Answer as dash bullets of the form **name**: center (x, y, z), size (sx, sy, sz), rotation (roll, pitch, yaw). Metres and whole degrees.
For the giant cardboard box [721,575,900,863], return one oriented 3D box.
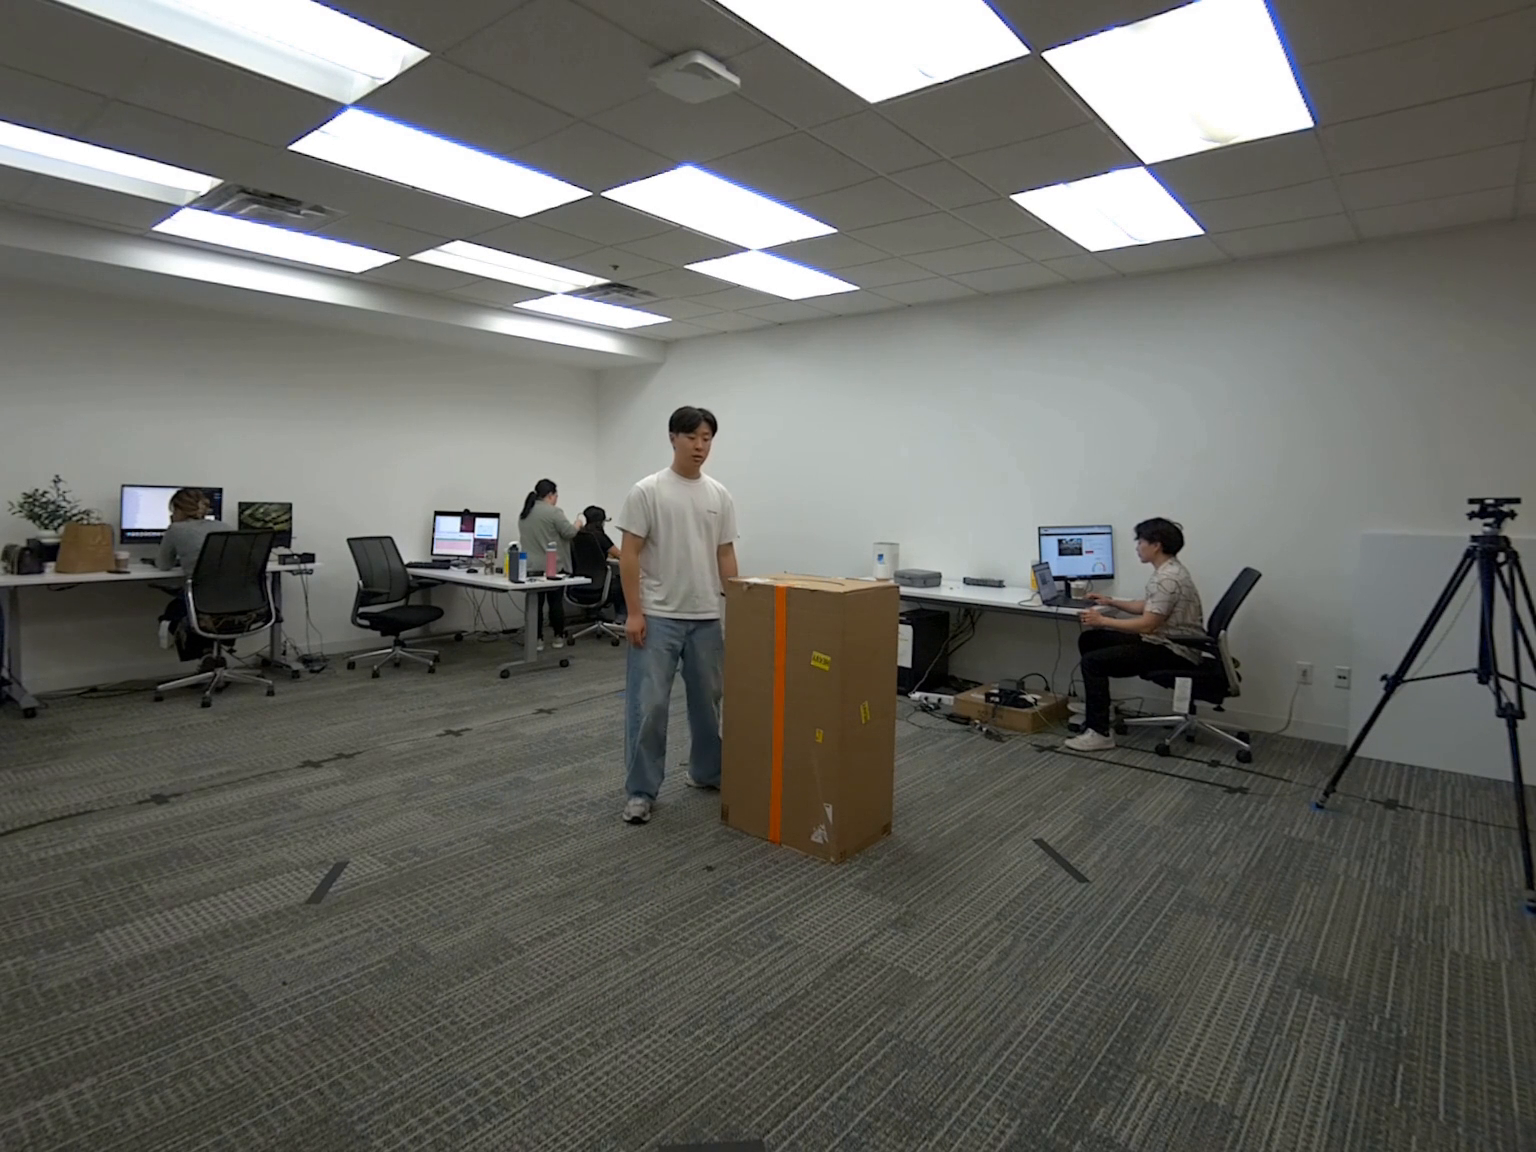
- **giant cardboard box**: center (0.159, 0.529, 3.477), size (0.597, 1.023, 0.413), rotation (4, 4, 39)
